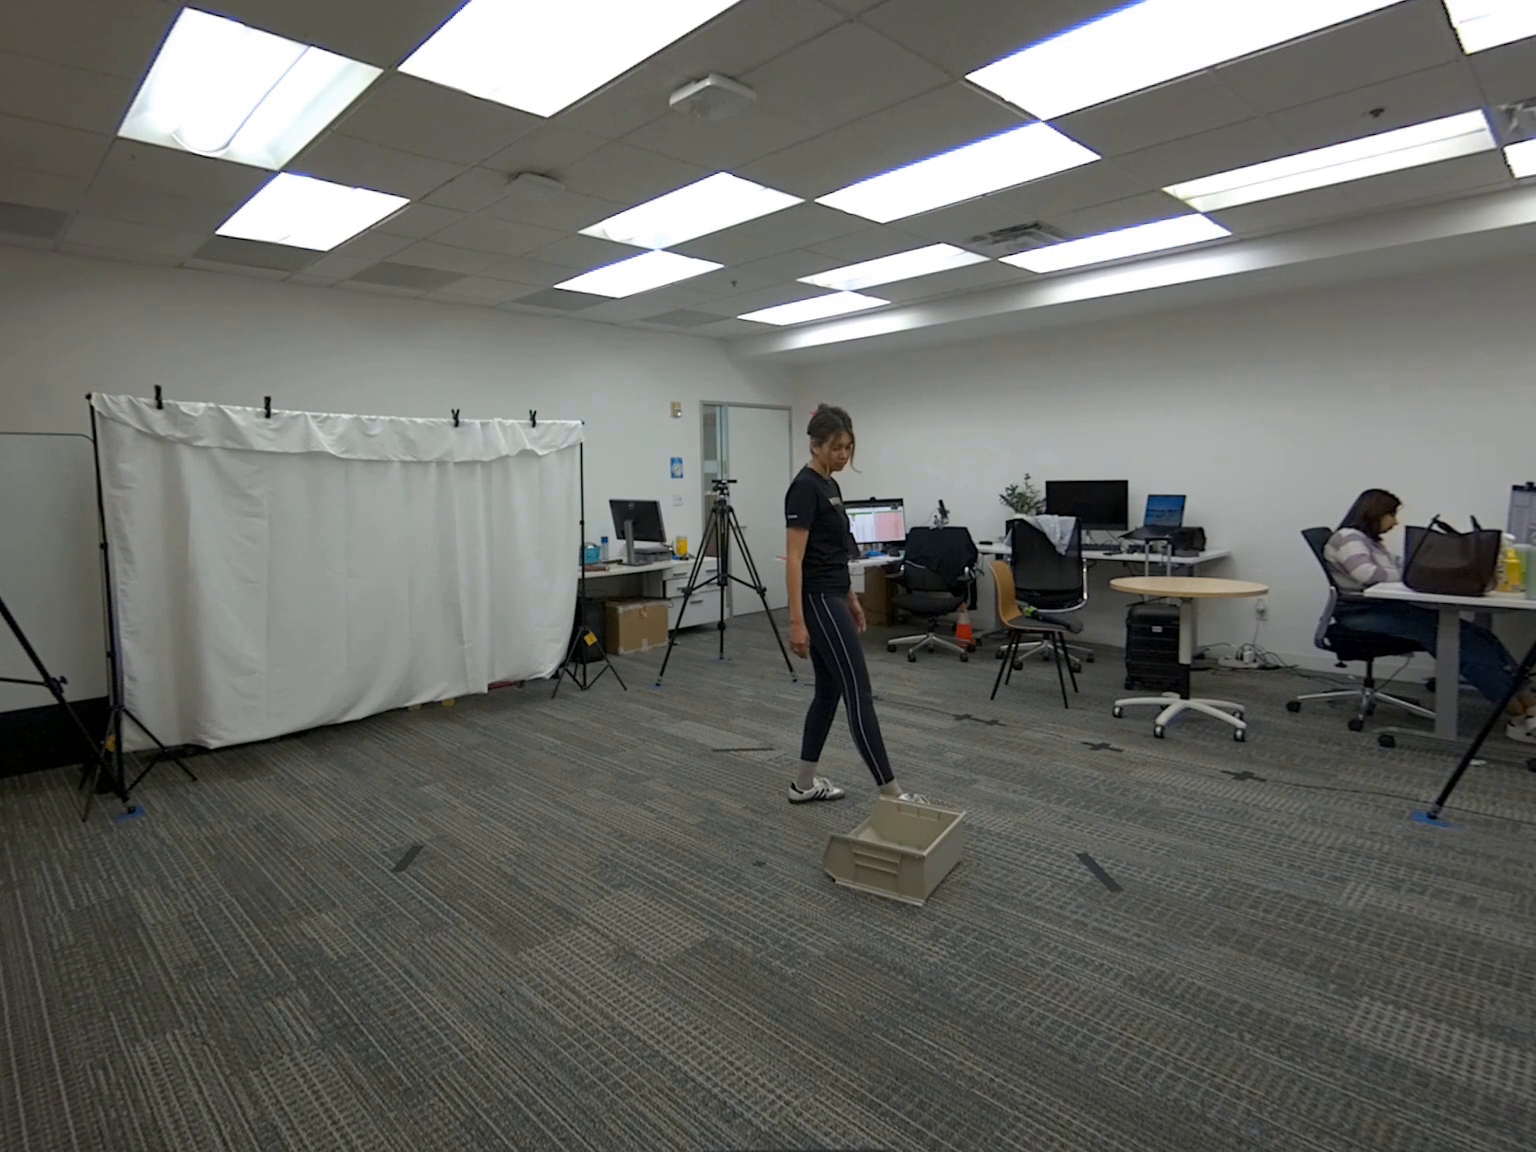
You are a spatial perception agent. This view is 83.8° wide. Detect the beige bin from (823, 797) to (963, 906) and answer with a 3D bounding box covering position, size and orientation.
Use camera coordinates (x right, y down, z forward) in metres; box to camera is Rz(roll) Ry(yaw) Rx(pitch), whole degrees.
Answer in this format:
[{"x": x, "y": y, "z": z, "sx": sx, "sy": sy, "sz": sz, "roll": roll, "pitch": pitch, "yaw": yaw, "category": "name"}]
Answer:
[{"x": 0.459, "y": 0.958, "z": 3.042, "sx": 0.388, "sy": 0.188, "sz": 0.412, "roll": 3, "pitch": 7, "yaw": 32, "category": "beige bin"}]
